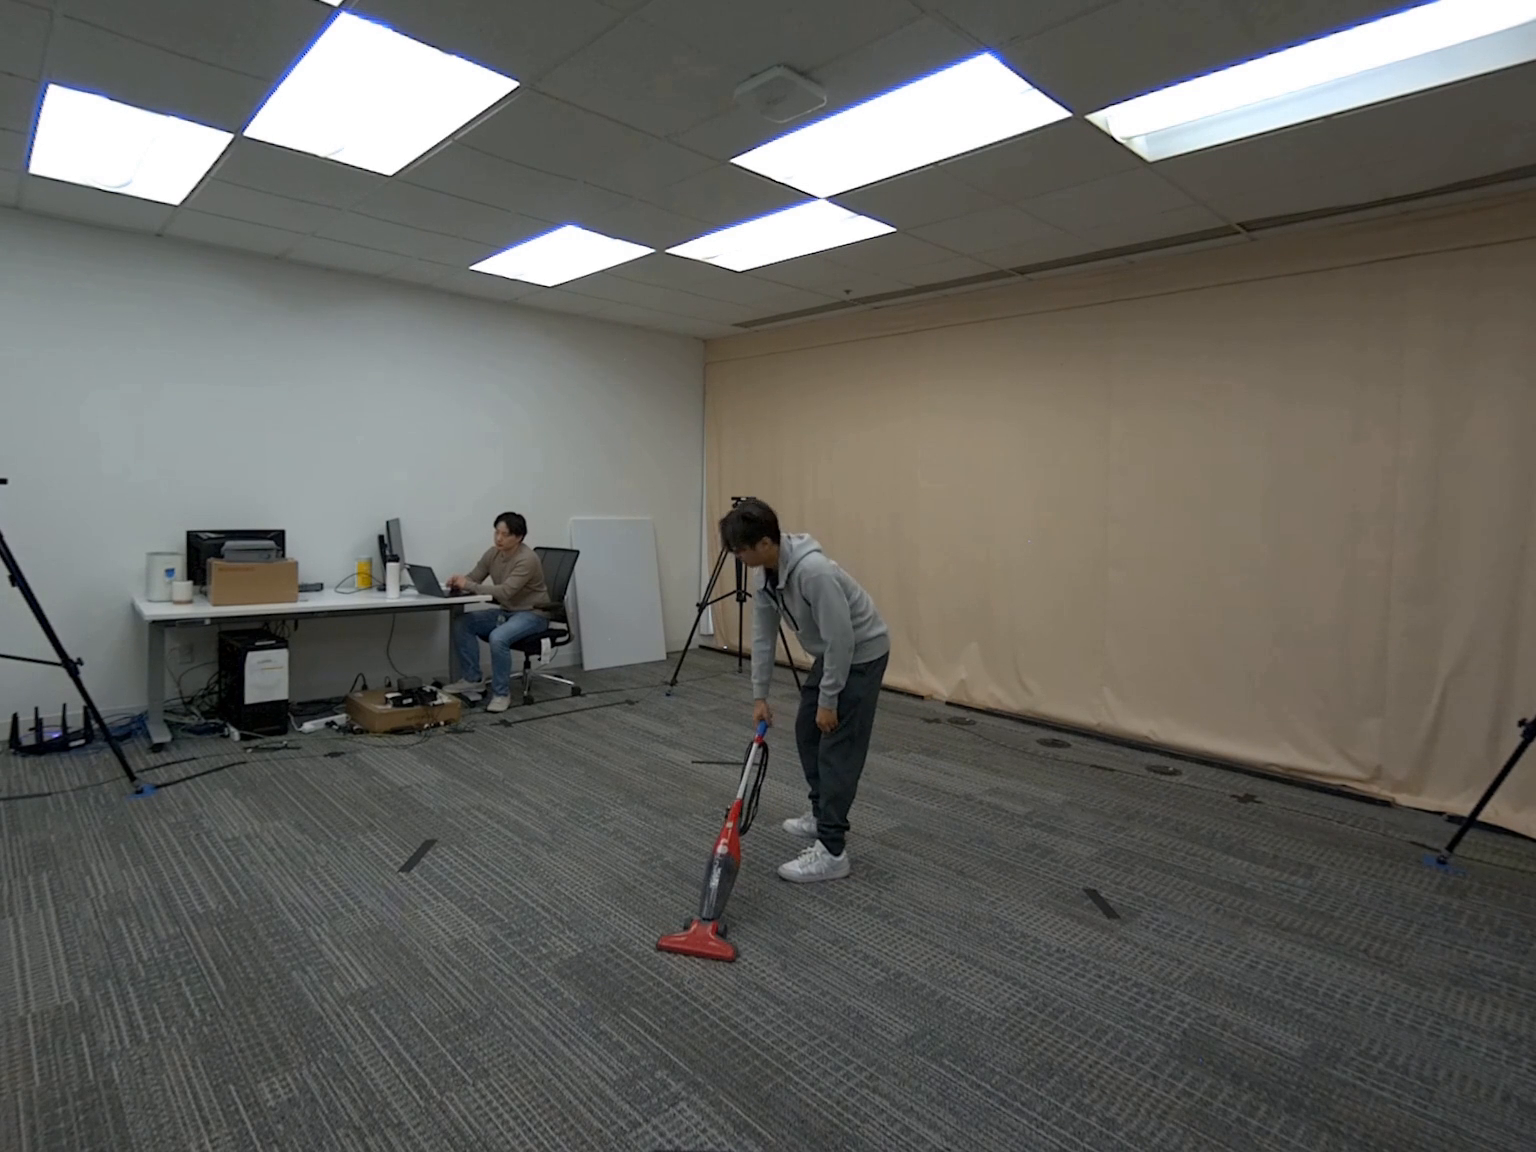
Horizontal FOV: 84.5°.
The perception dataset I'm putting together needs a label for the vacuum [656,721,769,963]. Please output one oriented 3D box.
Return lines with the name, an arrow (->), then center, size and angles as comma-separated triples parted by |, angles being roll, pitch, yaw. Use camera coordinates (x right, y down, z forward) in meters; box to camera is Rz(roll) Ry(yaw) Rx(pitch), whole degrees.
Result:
vacuum -> -0.106, 0.868, 3.024 | 0.256, 0.141, 1.059 | -5, 30, 17
